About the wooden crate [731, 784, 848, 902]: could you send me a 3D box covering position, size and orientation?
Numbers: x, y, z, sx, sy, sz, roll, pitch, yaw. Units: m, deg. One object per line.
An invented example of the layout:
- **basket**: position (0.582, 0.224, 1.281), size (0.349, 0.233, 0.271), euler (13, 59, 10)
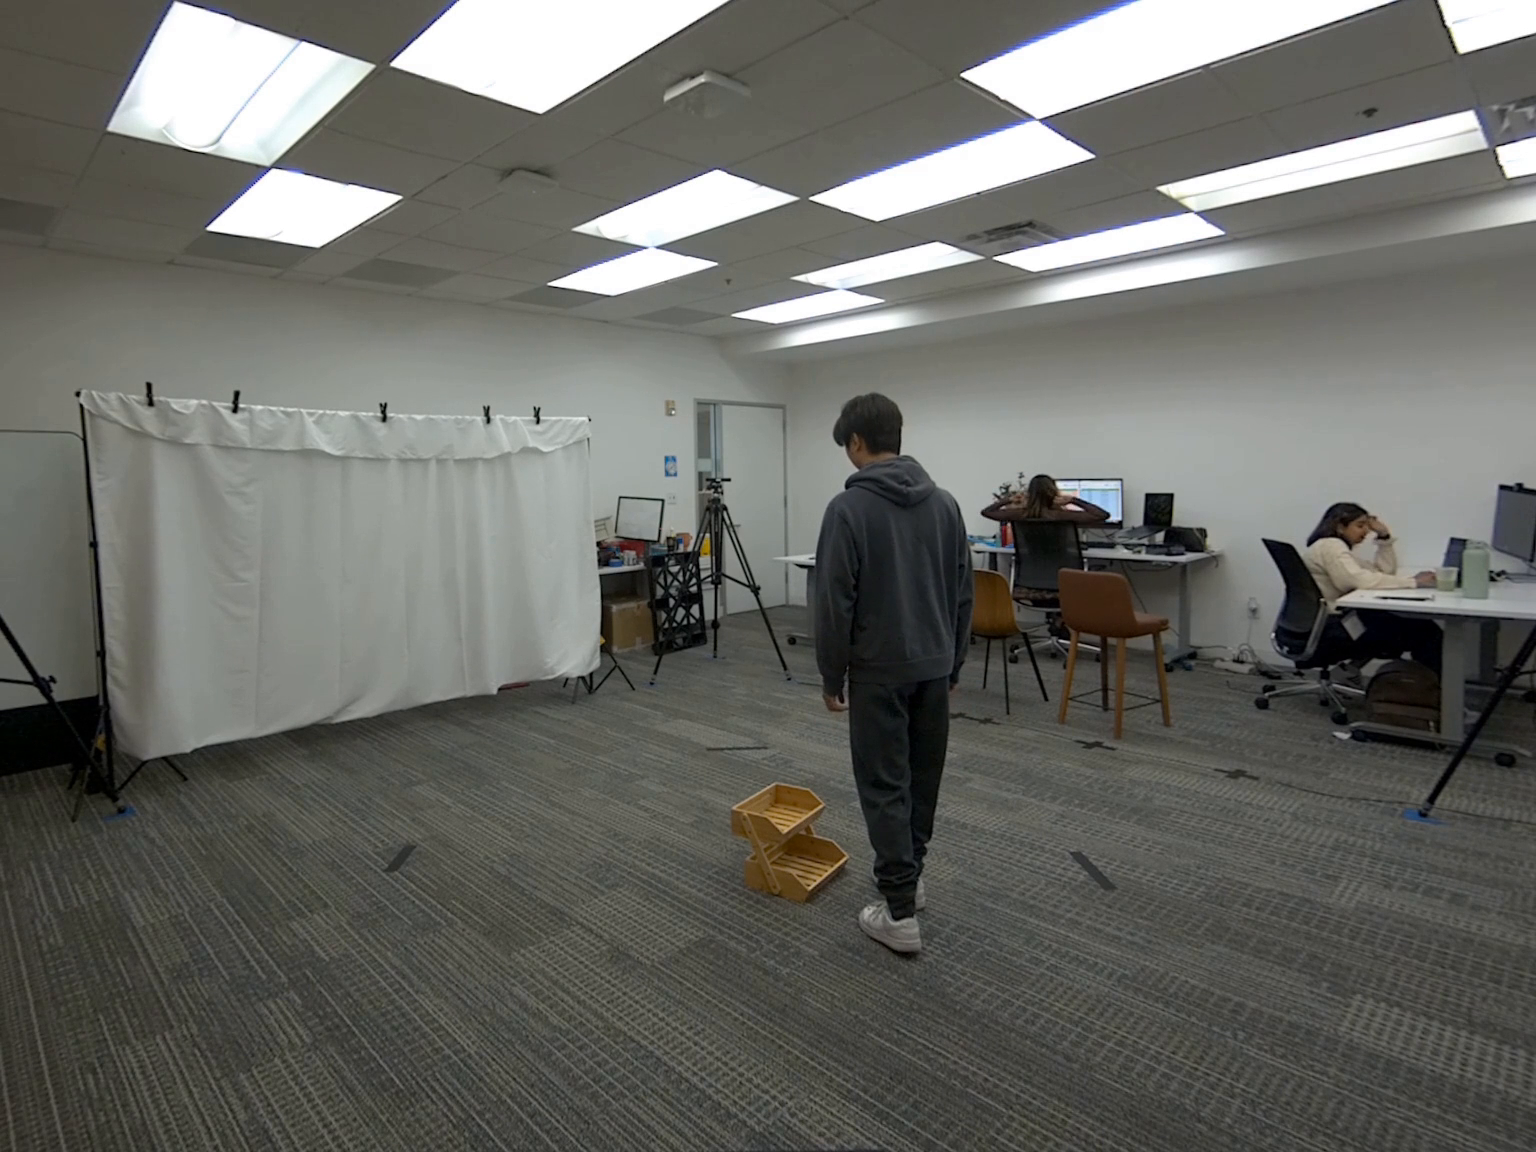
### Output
- **wooden crate**: position (0.084, 0.920, 2.995), size (0.310, 0.272, 0.317), euler (2, 6, 33)
